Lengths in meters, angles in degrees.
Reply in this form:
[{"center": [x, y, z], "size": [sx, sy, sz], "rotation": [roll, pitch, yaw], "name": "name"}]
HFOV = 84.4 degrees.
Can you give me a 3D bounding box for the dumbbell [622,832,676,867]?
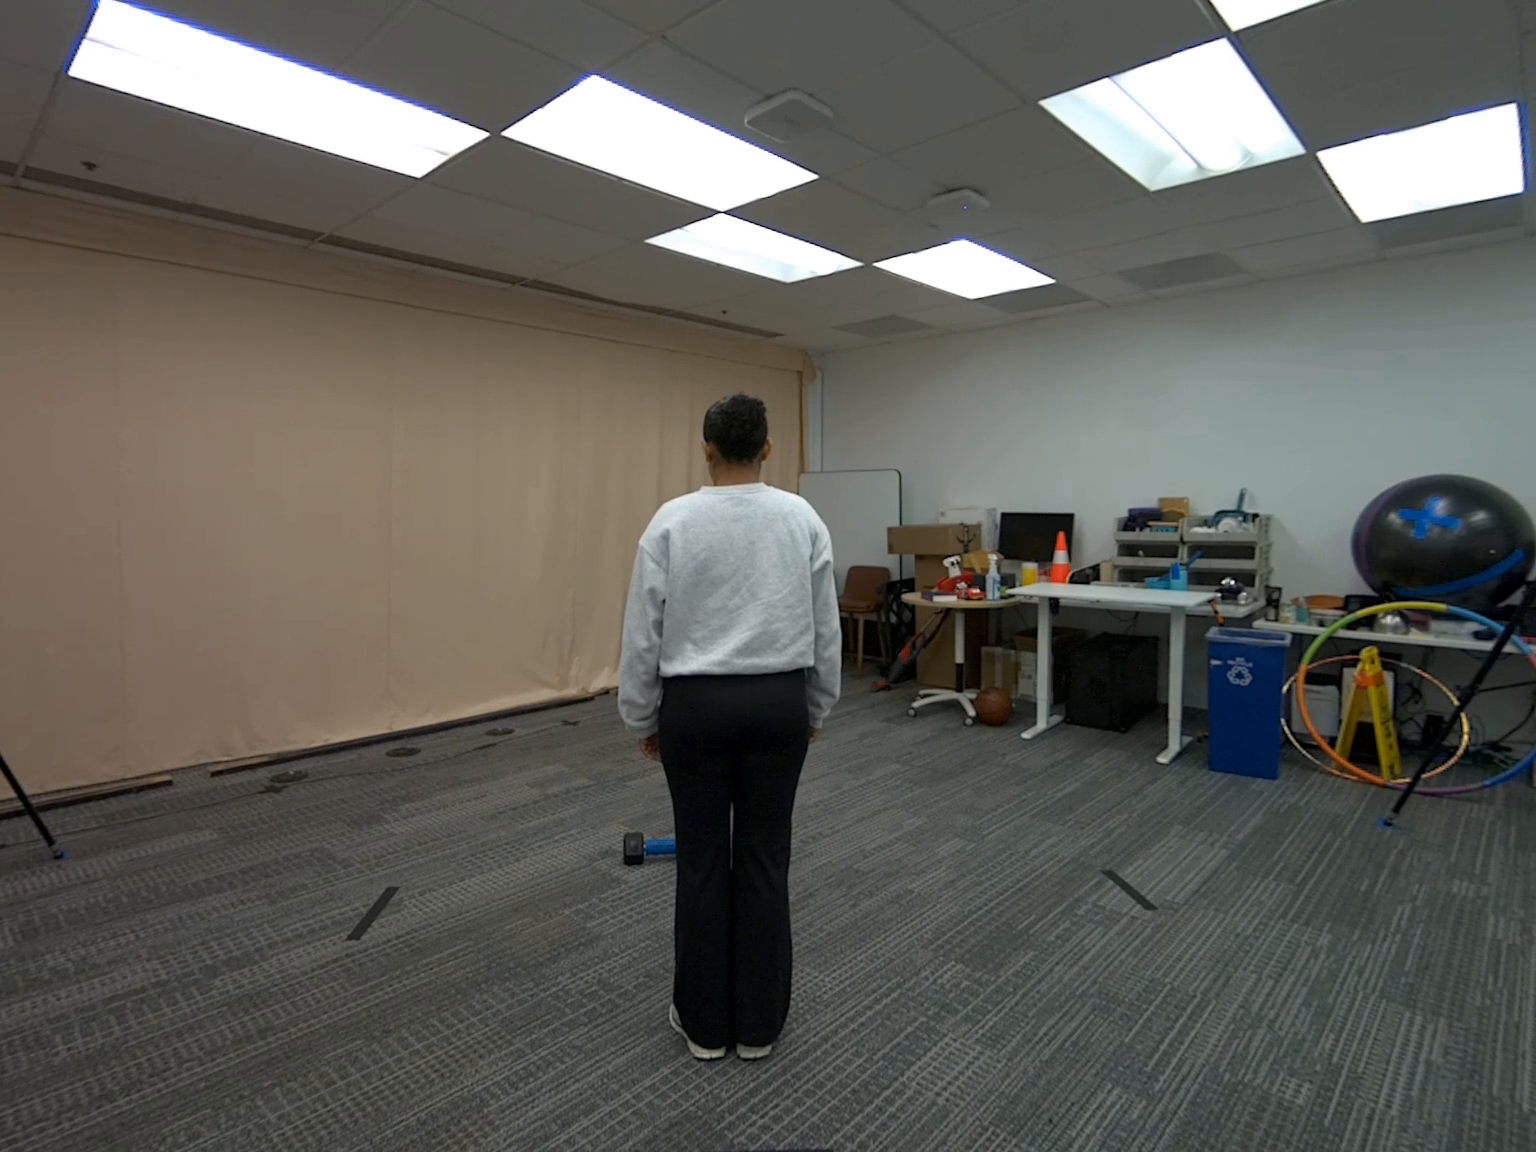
[{"center": [-0.423, 1.067, 3.305], "size": [0.292, 0.125, 0.107], "rotation": [-1, -26, -6], "name": "dumbbell"}]
